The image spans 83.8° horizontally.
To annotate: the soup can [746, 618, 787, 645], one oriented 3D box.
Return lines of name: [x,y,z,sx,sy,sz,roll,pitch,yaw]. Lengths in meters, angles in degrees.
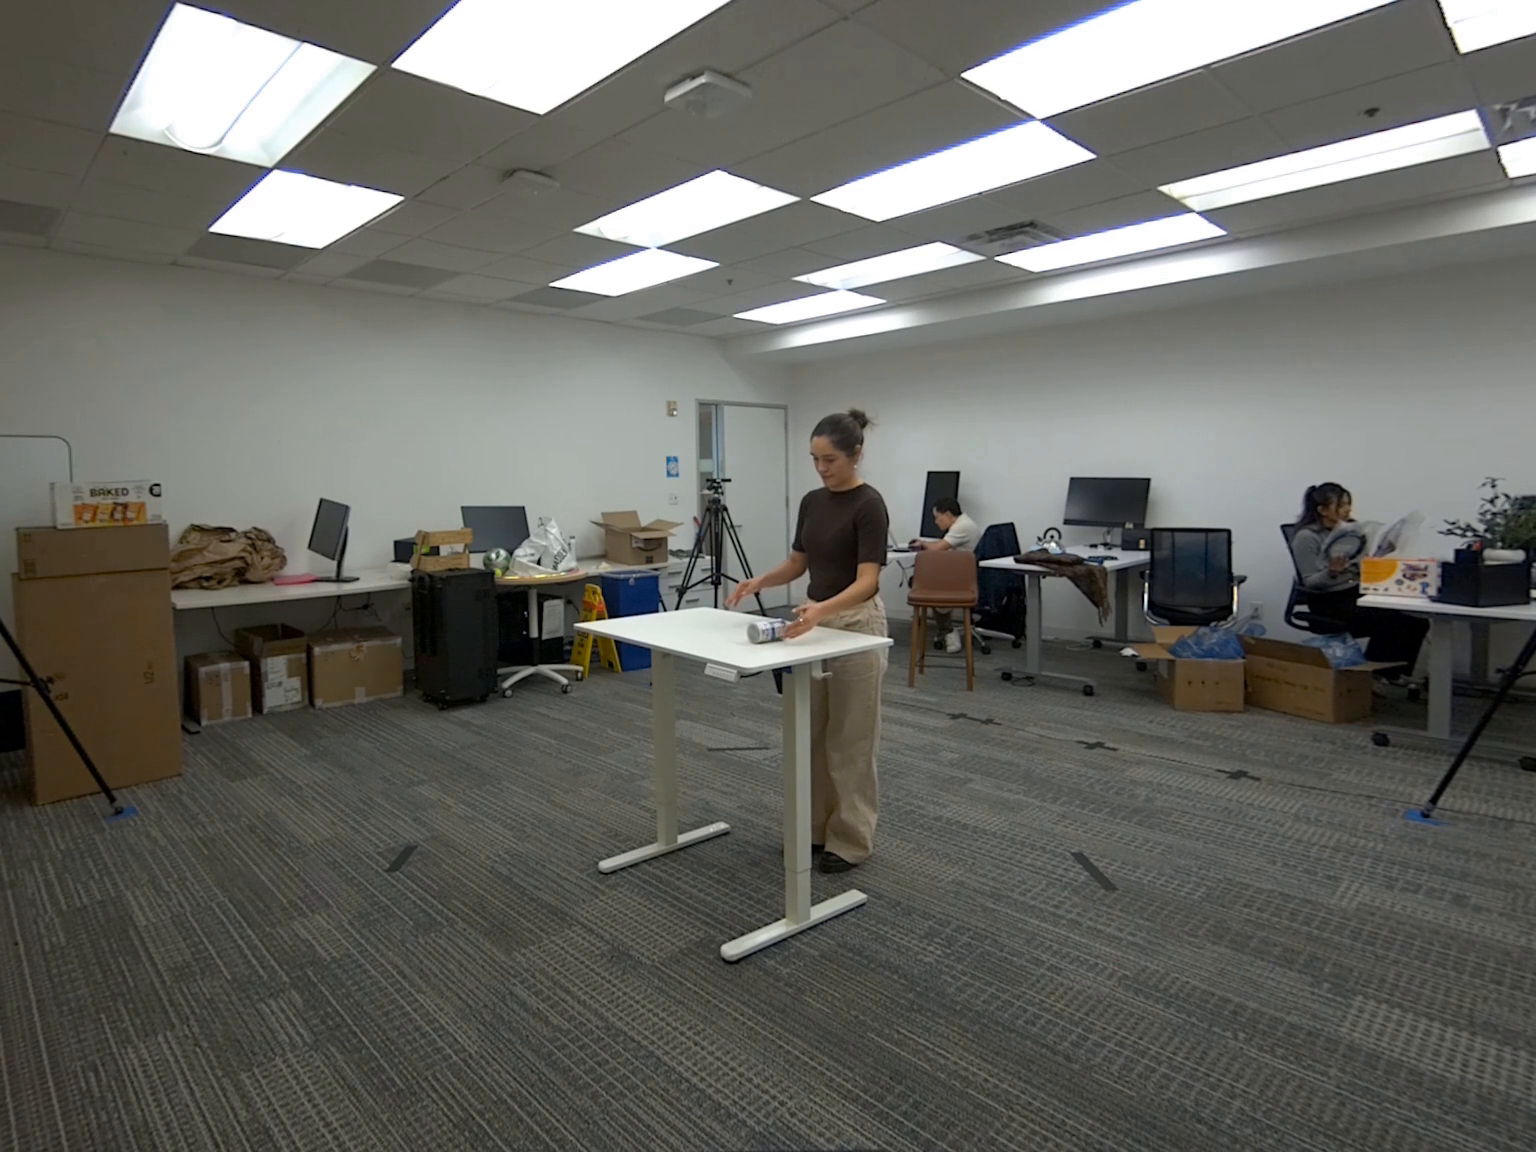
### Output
soup can: [0.002,0.176,2.691,0.118,0.067,0.069,-7,8,-39]
